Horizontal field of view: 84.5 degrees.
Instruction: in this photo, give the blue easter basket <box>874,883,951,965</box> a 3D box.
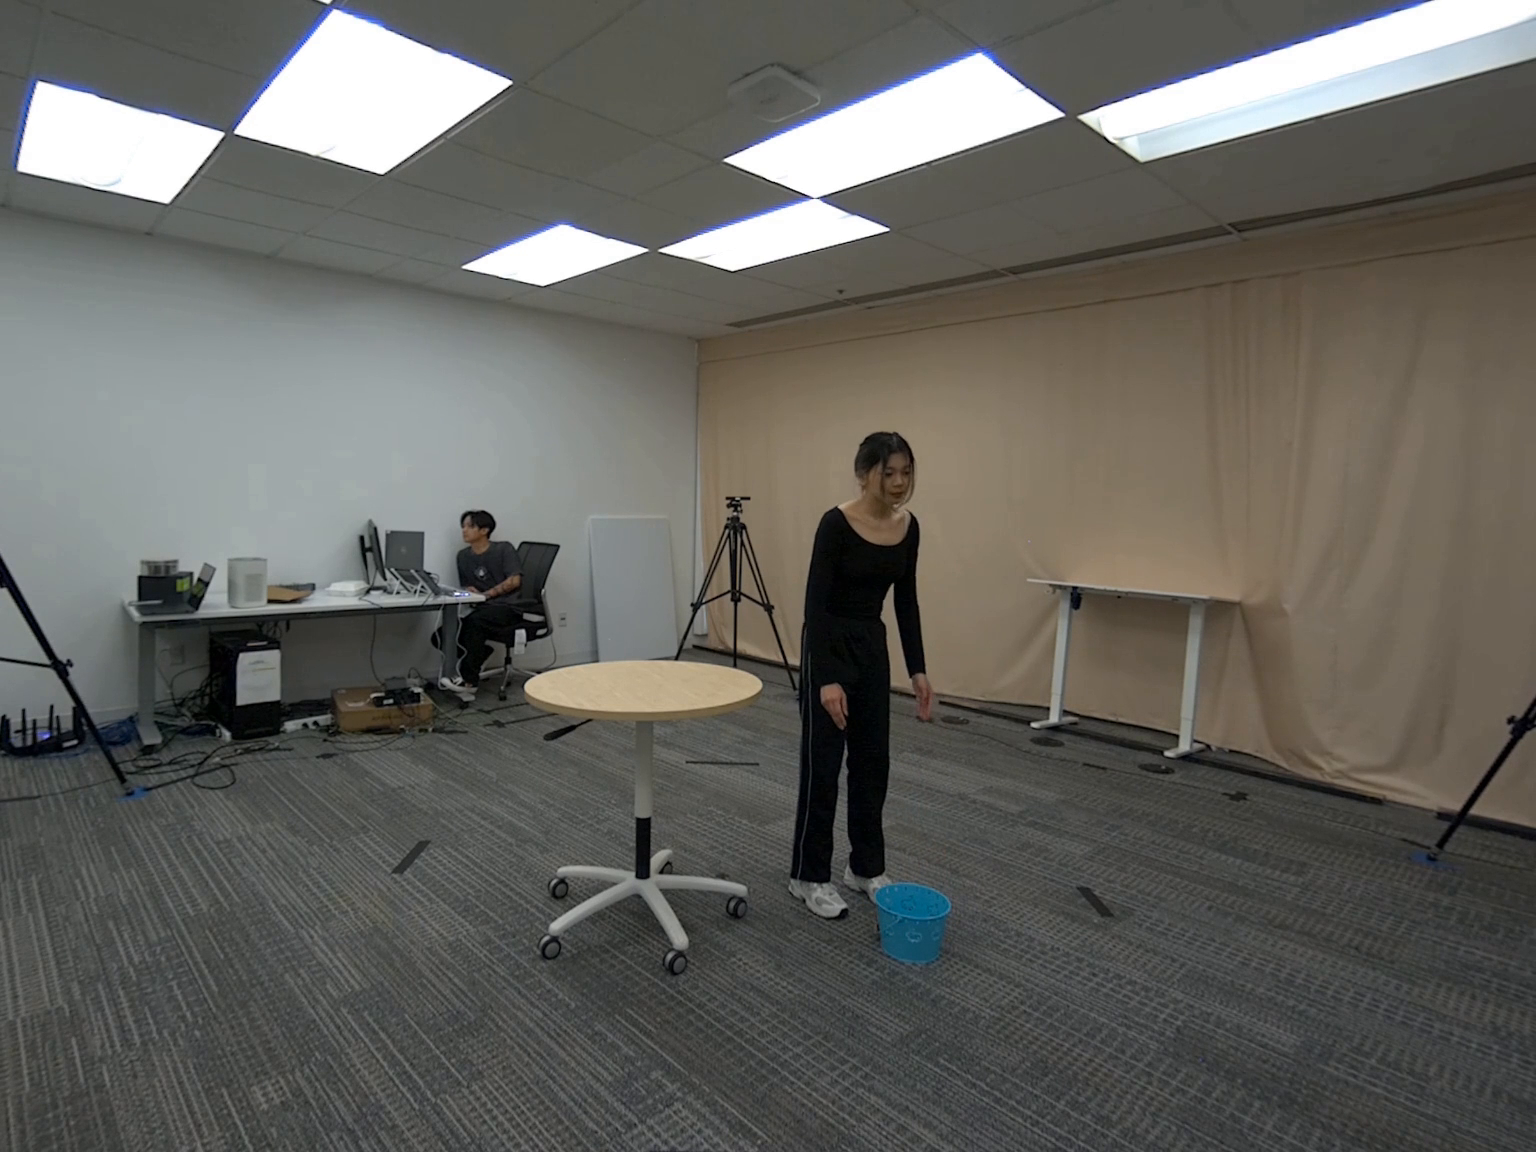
[{"bbox_3d":[0.442,1.090,2.634,0.243,0.155,0.244,2,4,-1],"label":"blue easter basket"}]
